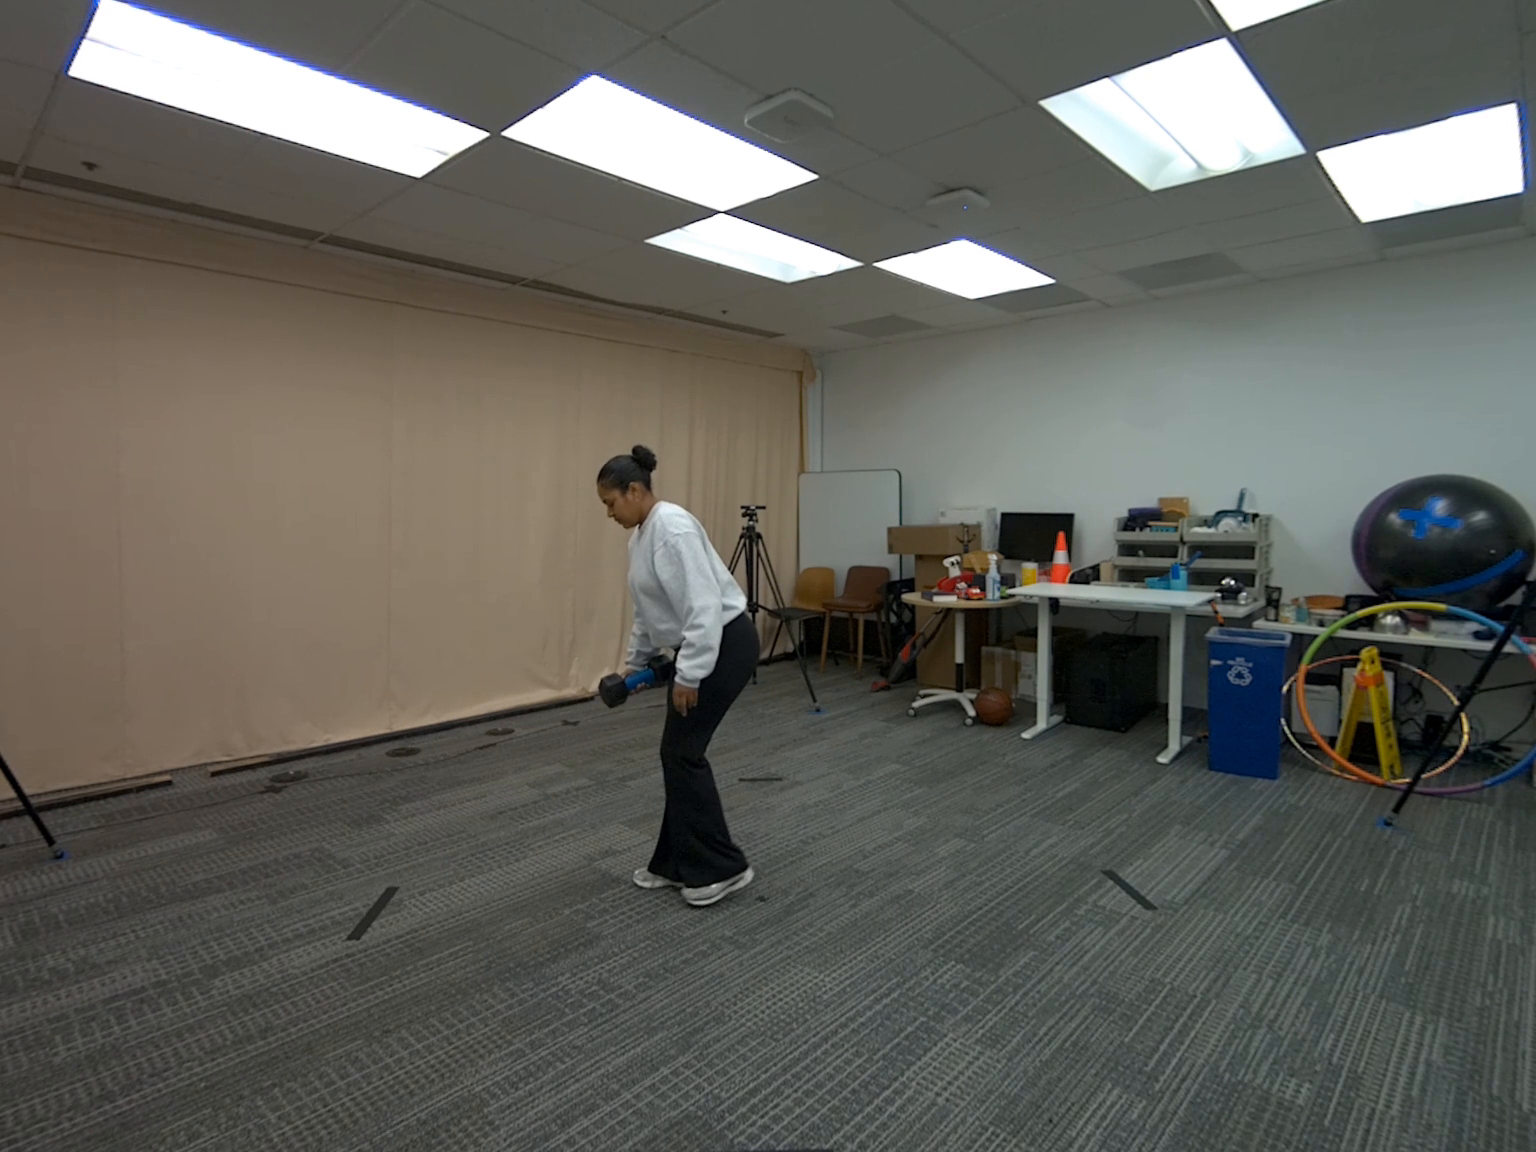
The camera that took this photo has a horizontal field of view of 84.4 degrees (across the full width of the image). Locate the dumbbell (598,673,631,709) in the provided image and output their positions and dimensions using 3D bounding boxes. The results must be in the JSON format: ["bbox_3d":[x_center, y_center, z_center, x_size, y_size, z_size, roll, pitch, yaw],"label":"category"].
[{"bbox_3d":[-0.488,0.402,3.228,0.287,0.123,0.111,-14,1,-30],"label":"dumbbell"}]
